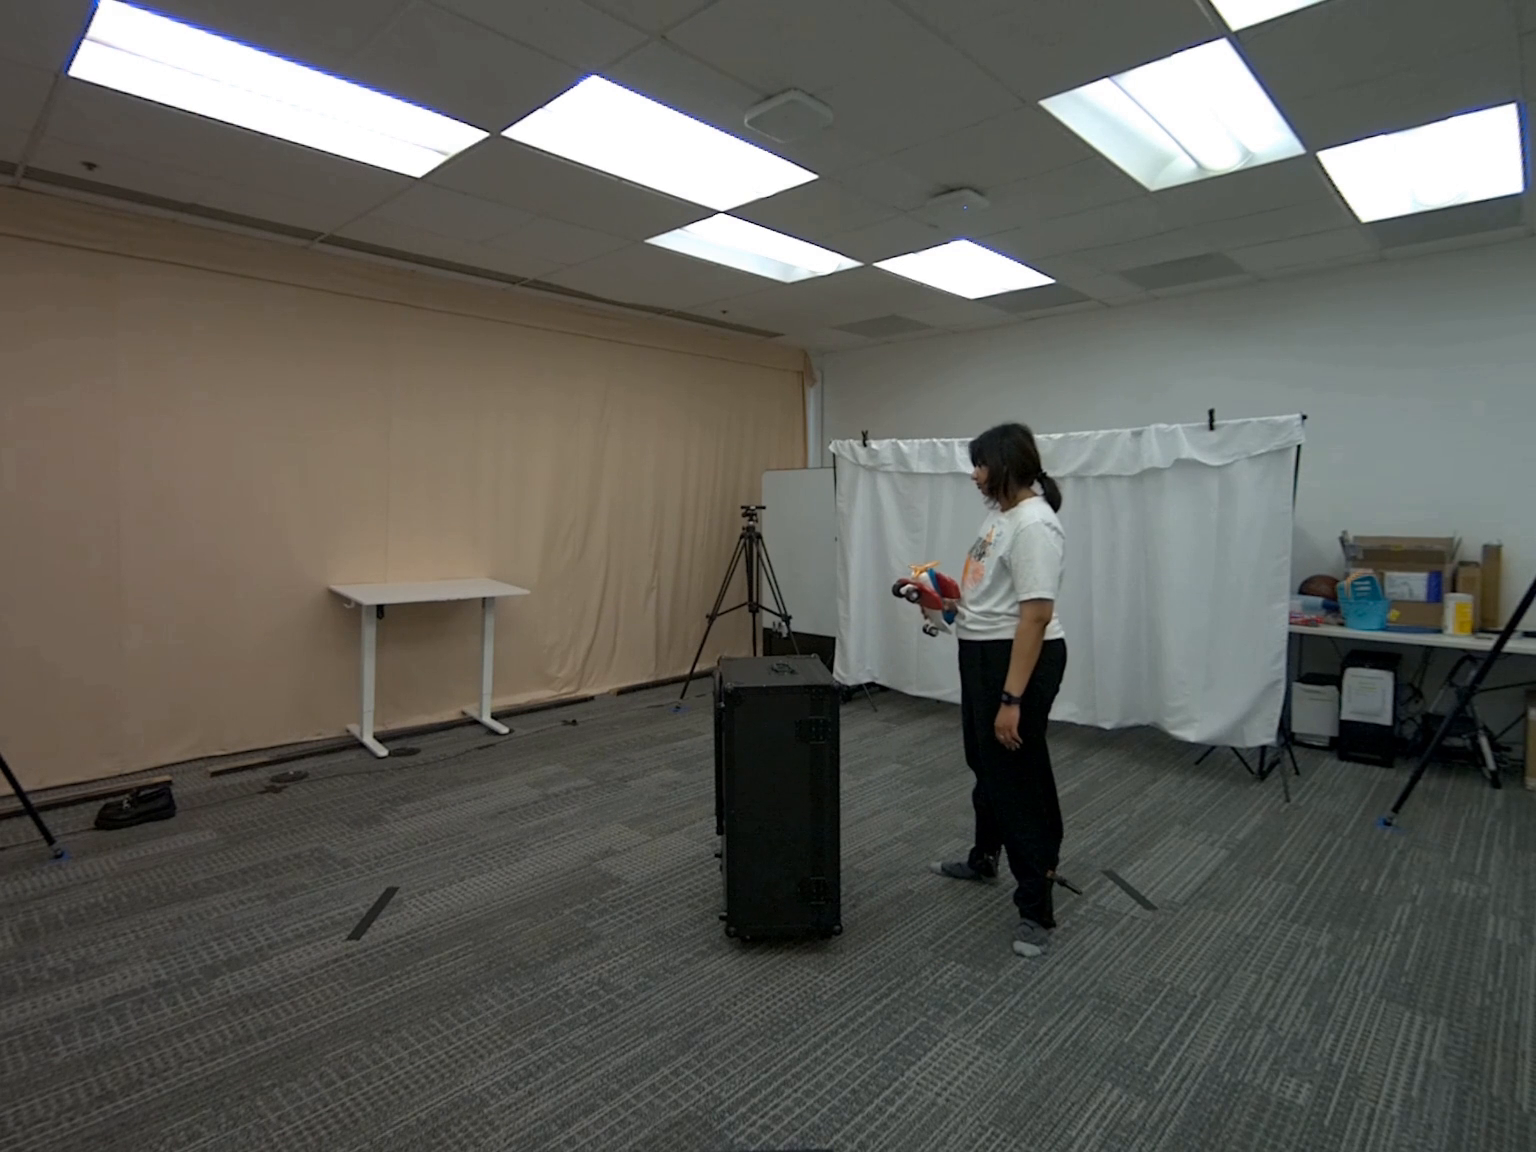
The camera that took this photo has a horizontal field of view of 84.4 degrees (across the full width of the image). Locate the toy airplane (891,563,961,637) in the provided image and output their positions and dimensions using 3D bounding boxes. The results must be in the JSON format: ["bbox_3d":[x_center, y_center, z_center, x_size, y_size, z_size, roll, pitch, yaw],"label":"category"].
[{"bbox_3d":[0.558,0.081,2.949,0.260,0.156,0.251,39,-13,40],"label":"toy airplane"}]
